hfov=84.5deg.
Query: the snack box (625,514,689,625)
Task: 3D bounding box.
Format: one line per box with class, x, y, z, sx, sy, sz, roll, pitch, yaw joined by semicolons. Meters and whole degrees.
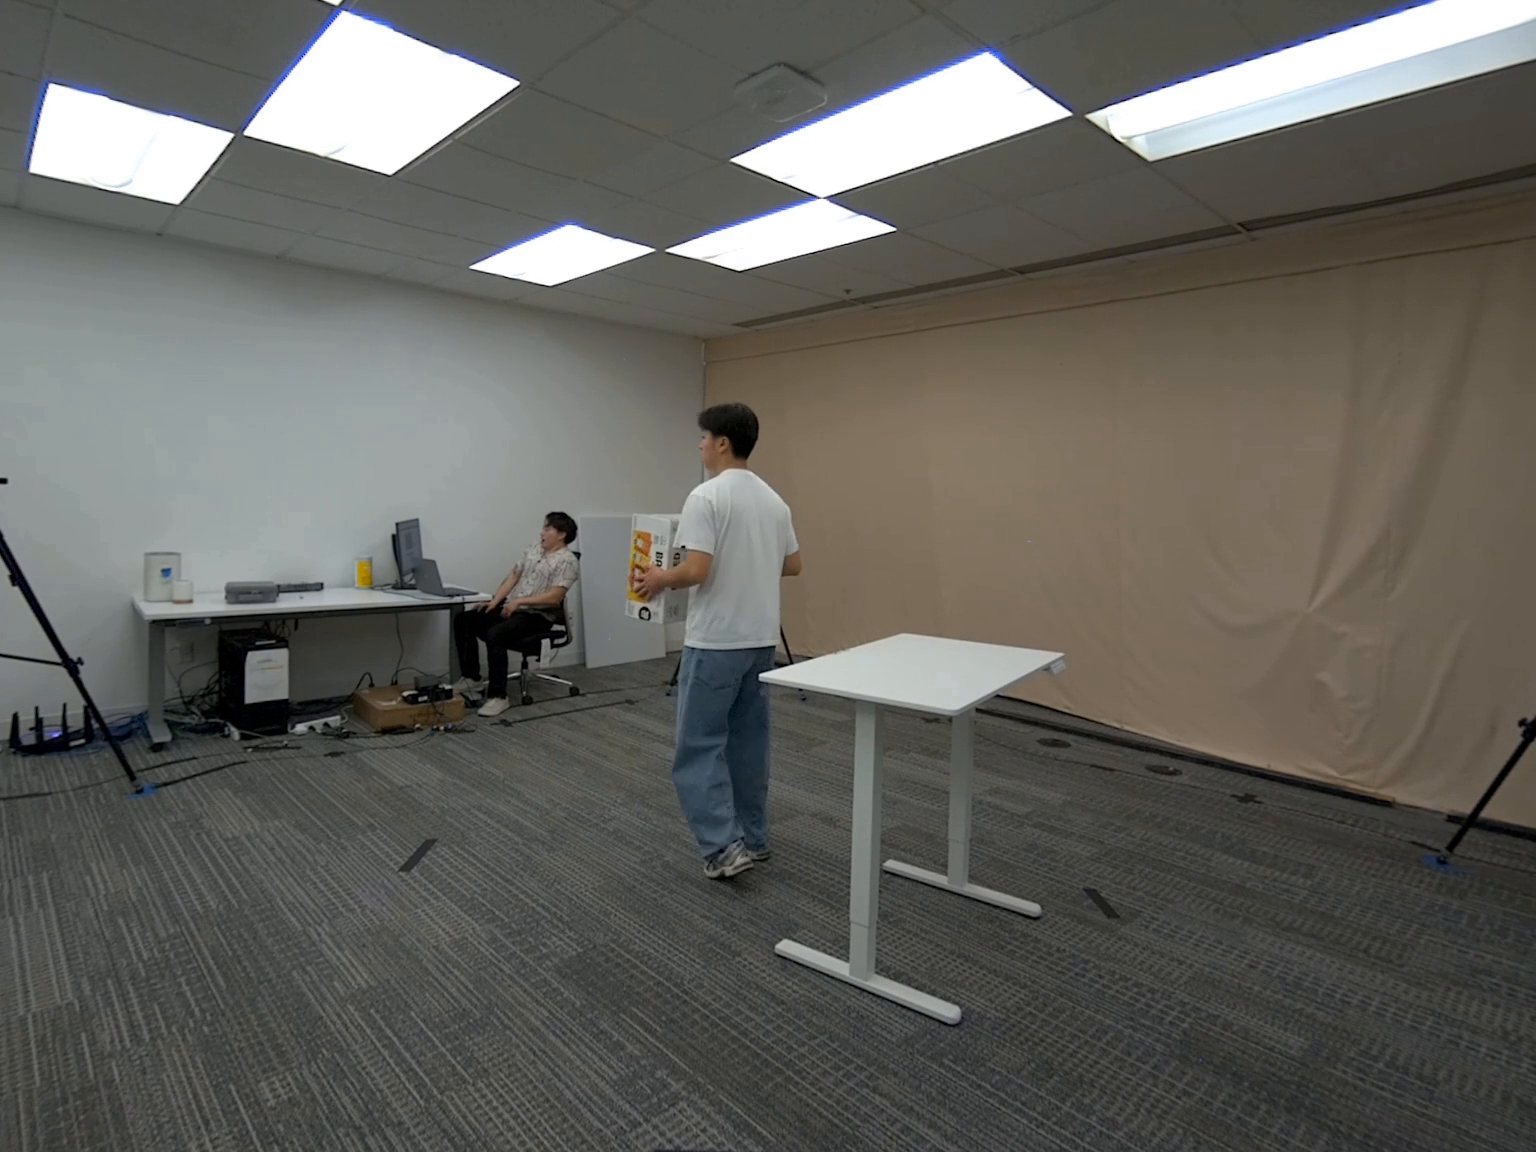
snack box;-0.369;-0.036;3.375;0.211;0.403;0.333;9;8;35
